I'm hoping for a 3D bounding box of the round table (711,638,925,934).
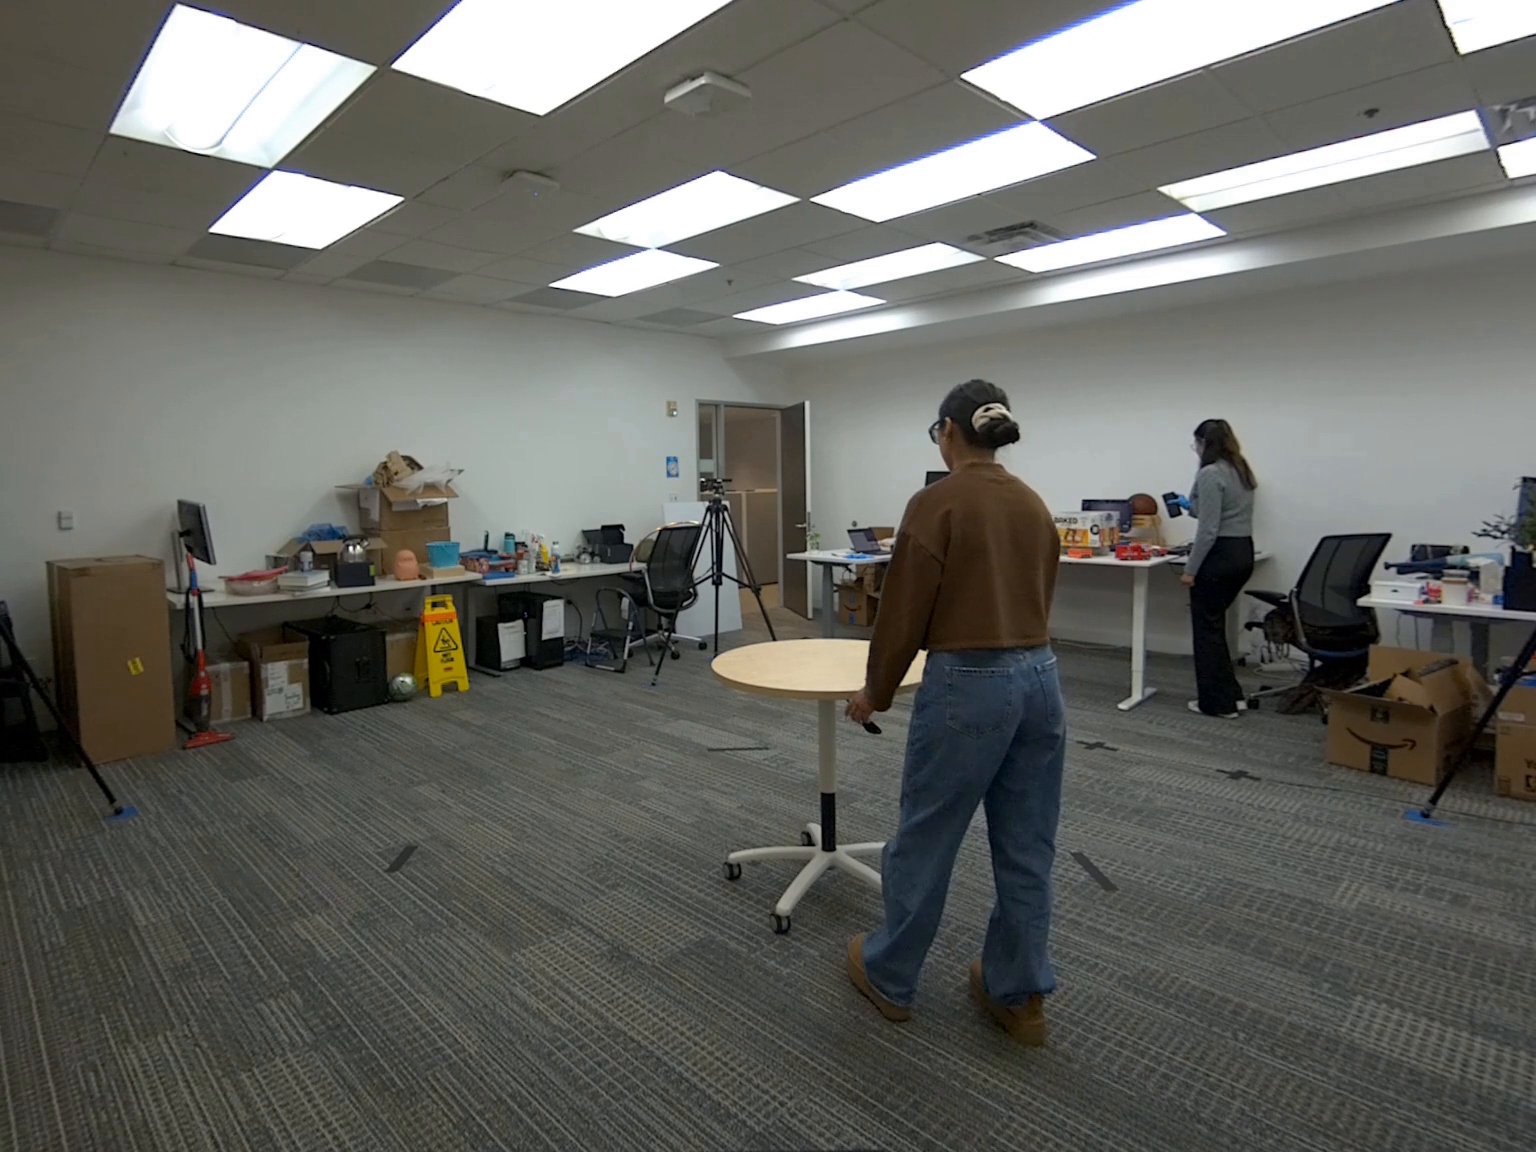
[{"bbox_3d":[0.207,0.679,2.876,0.763,0.790,0.768,-1,5,-2],"label":"round table"}]
